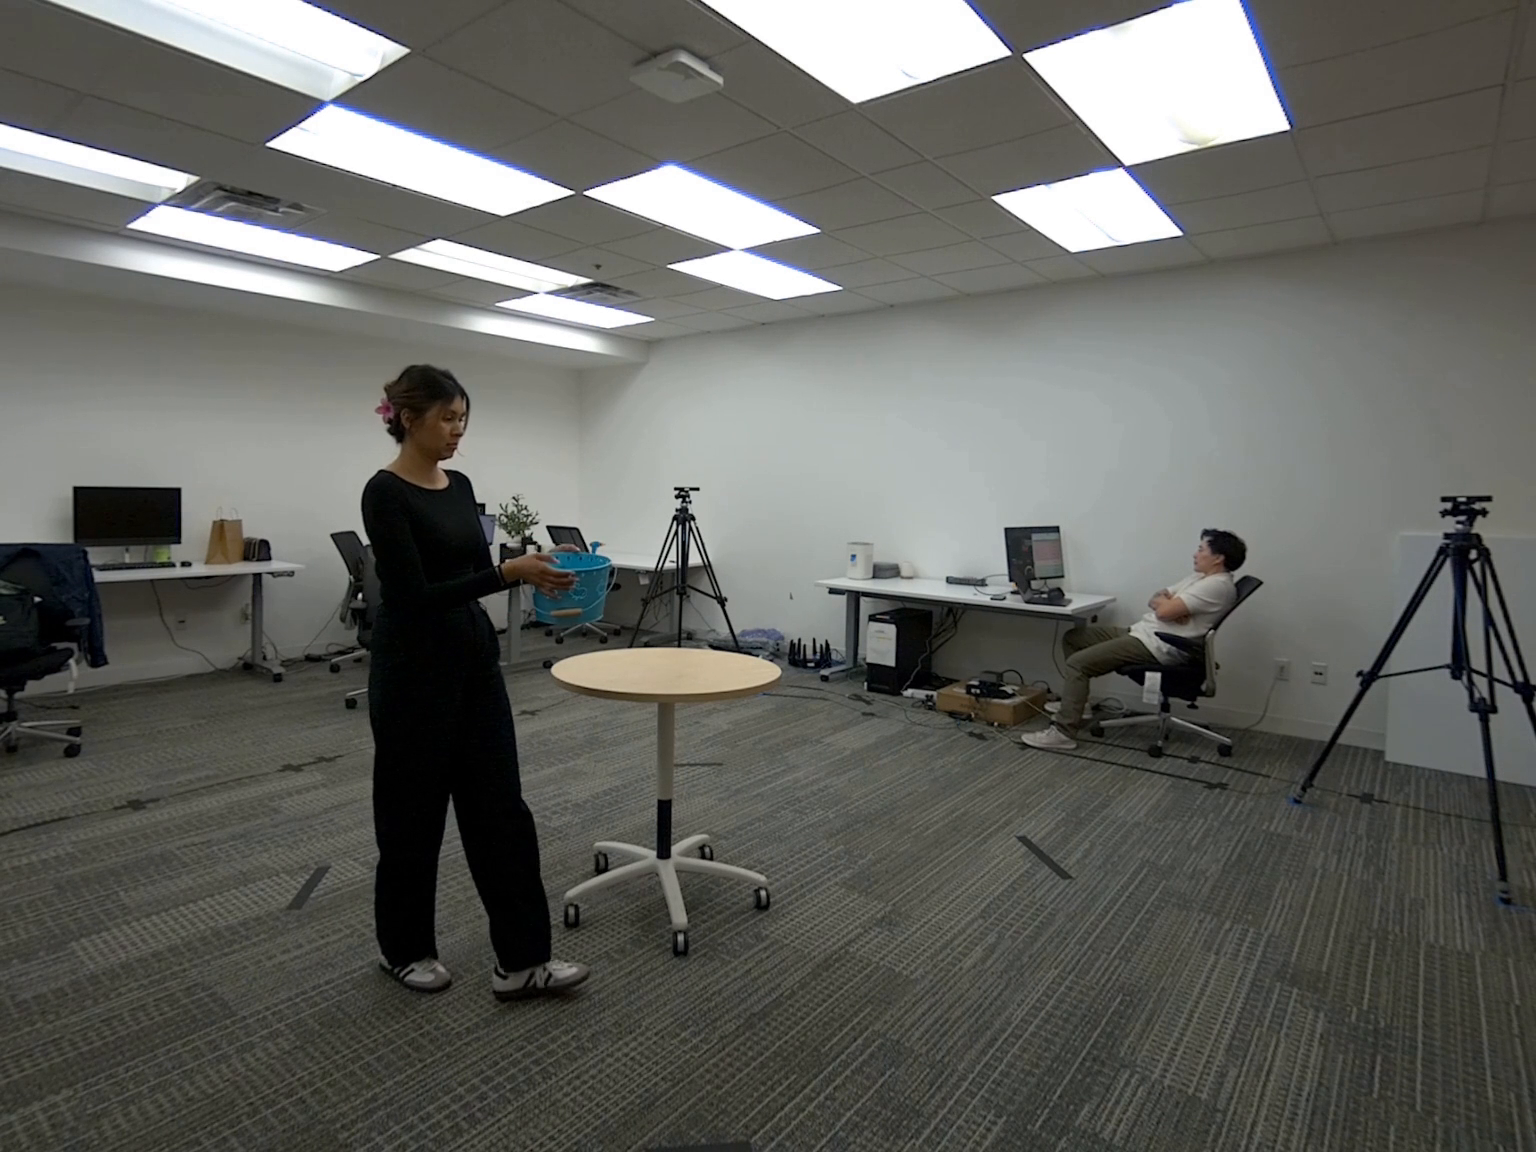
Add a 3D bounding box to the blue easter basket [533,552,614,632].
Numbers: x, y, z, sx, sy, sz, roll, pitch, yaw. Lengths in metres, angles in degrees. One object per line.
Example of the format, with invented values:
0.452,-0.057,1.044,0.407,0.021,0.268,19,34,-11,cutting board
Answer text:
-0.551,0.039,2.252,0.243,0.154,0.246,1,12,-2,blue easter basket
